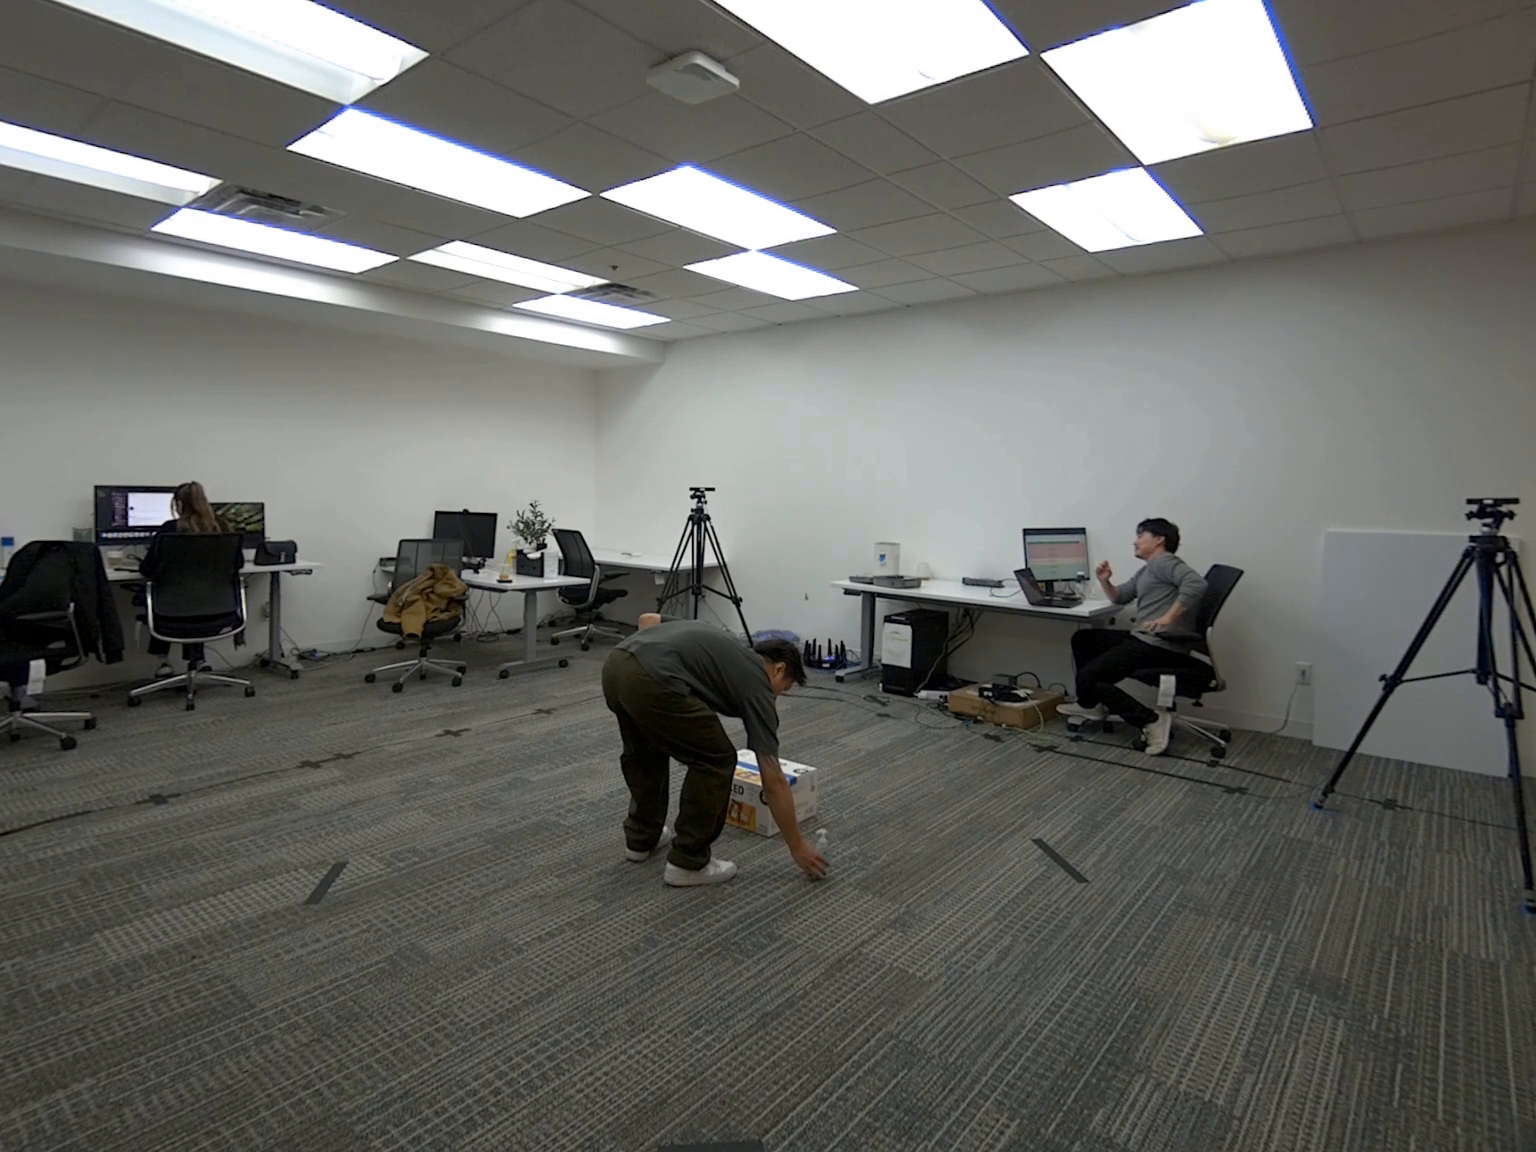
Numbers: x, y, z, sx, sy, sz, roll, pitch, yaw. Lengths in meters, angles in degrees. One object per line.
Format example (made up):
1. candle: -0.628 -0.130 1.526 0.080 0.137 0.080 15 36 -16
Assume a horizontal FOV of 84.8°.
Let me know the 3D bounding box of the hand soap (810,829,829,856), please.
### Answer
1. hand soap: 0.184 1.002 3.060 0.082 0.167 0.045 0 8 -33
